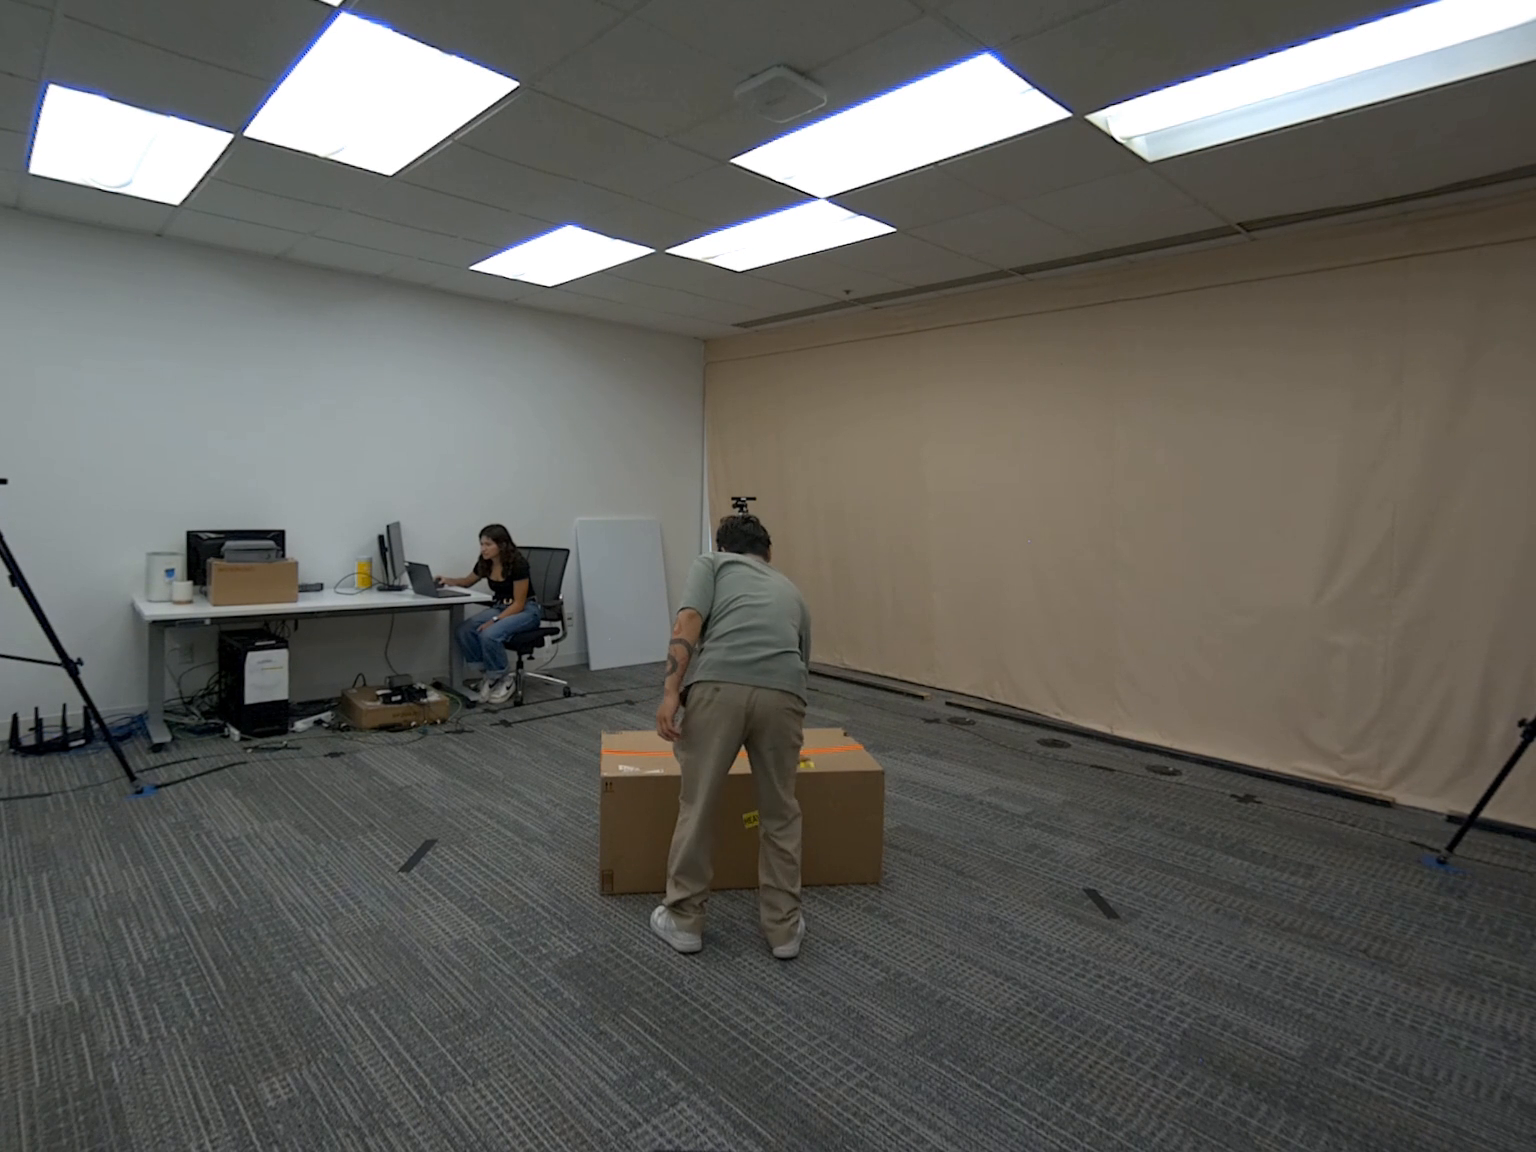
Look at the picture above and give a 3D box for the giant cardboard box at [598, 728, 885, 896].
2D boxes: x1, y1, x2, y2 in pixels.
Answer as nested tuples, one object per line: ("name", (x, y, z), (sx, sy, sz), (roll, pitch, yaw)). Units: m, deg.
("giant cardboard box", (-0.142, 0.878, 3.270), (1.018, 0.425, 0.583), (1, 5, -9))
